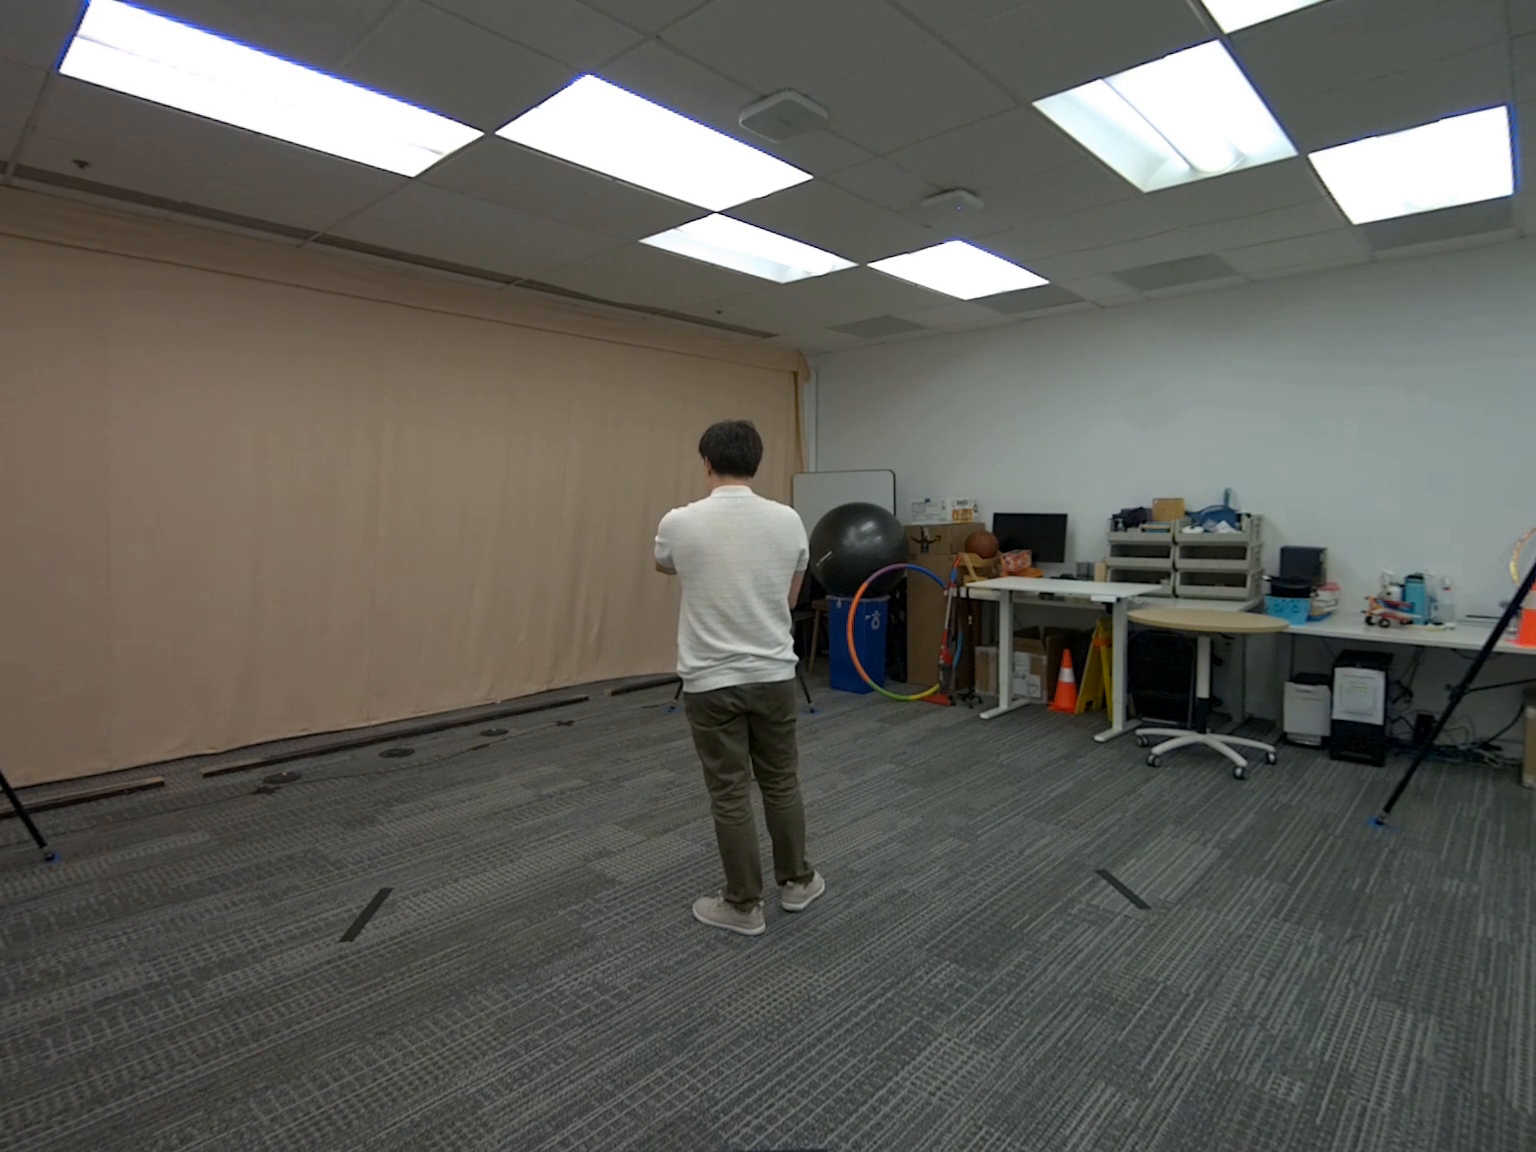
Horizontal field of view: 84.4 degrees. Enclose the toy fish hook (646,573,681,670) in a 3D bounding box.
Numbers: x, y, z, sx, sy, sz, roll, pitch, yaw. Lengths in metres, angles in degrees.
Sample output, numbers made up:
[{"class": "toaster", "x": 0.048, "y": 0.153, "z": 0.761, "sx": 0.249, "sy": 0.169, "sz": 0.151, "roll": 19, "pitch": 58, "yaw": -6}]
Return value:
[{"class": "toy fish hook", "x": -0.310, "y": 0.103, "z": 3.203, "sx": 0.225, "sy": 0.505, "sz": 0.048, "roll": 10, "pitch": 7, "yaw": 0}]
